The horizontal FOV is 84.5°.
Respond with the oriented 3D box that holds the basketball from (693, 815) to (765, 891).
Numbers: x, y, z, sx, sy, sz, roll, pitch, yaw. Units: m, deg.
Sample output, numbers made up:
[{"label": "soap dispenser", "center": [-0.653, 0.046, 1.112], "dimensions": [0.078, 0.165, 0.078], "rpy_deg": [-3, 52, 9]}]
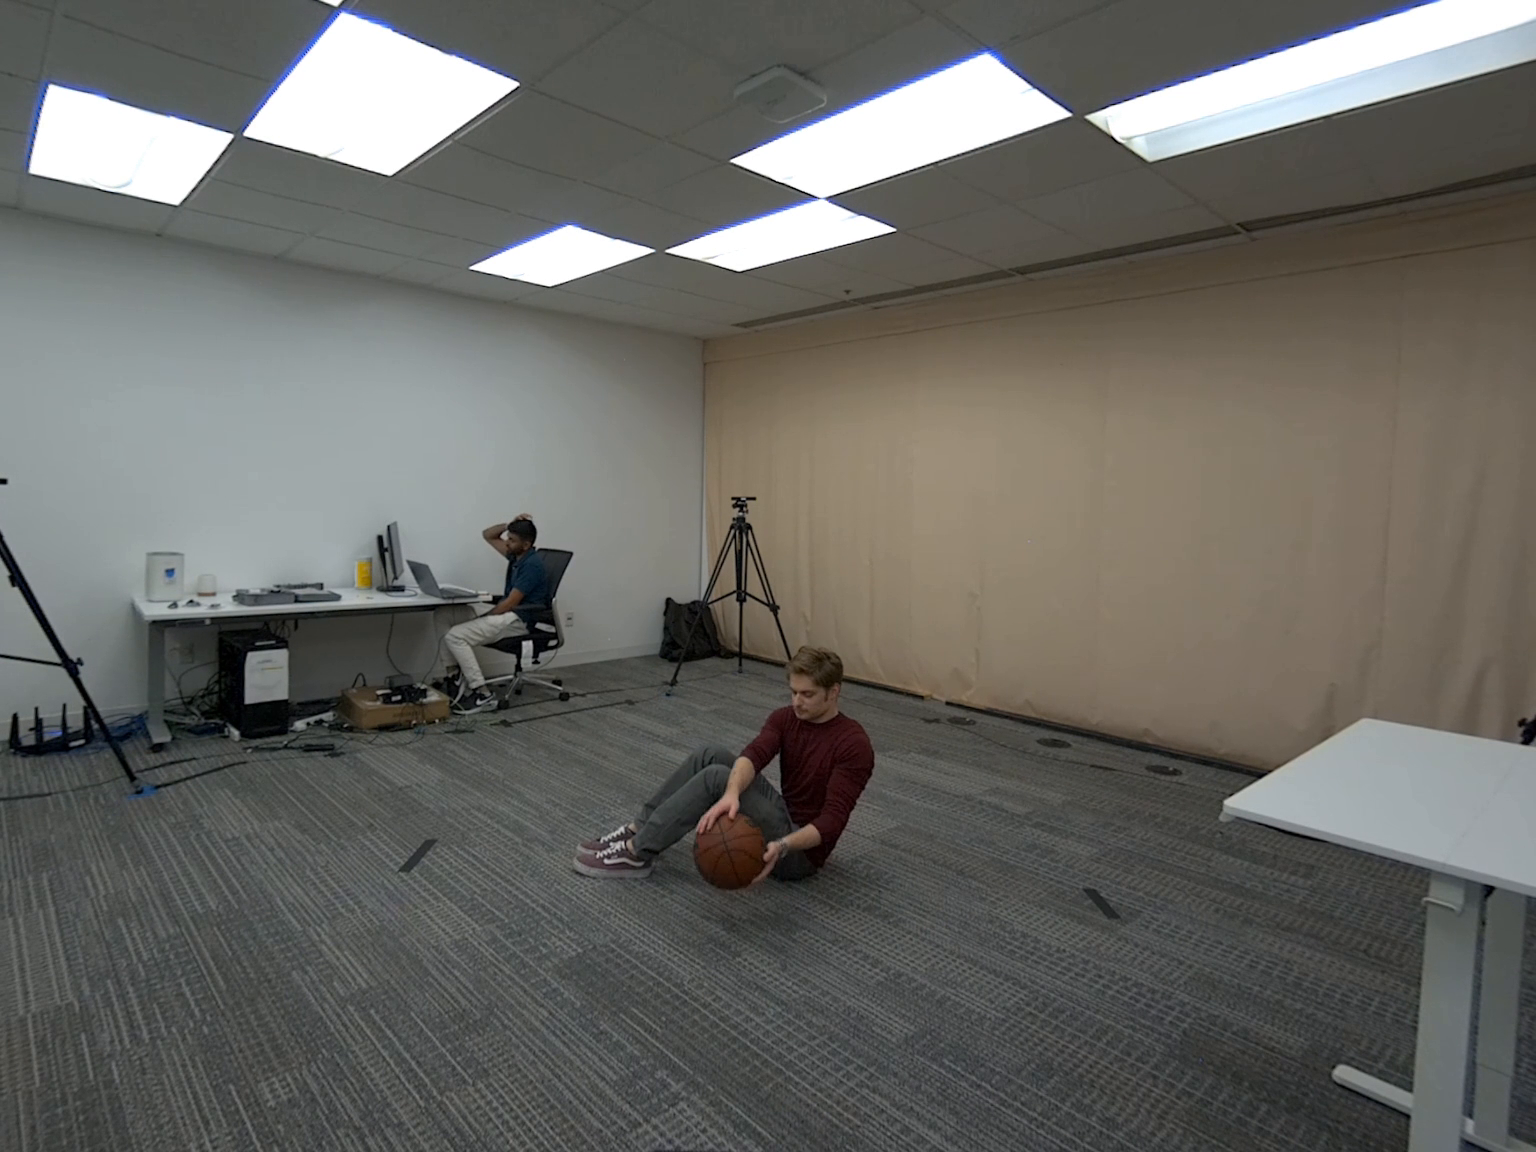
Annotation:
[{"label": "basketball", "center": [-0.139, 0.878, 2.738], "dimensions": [0.236, 0.235, 0.237], "rpy_deg": [1, 4, -1]}]
